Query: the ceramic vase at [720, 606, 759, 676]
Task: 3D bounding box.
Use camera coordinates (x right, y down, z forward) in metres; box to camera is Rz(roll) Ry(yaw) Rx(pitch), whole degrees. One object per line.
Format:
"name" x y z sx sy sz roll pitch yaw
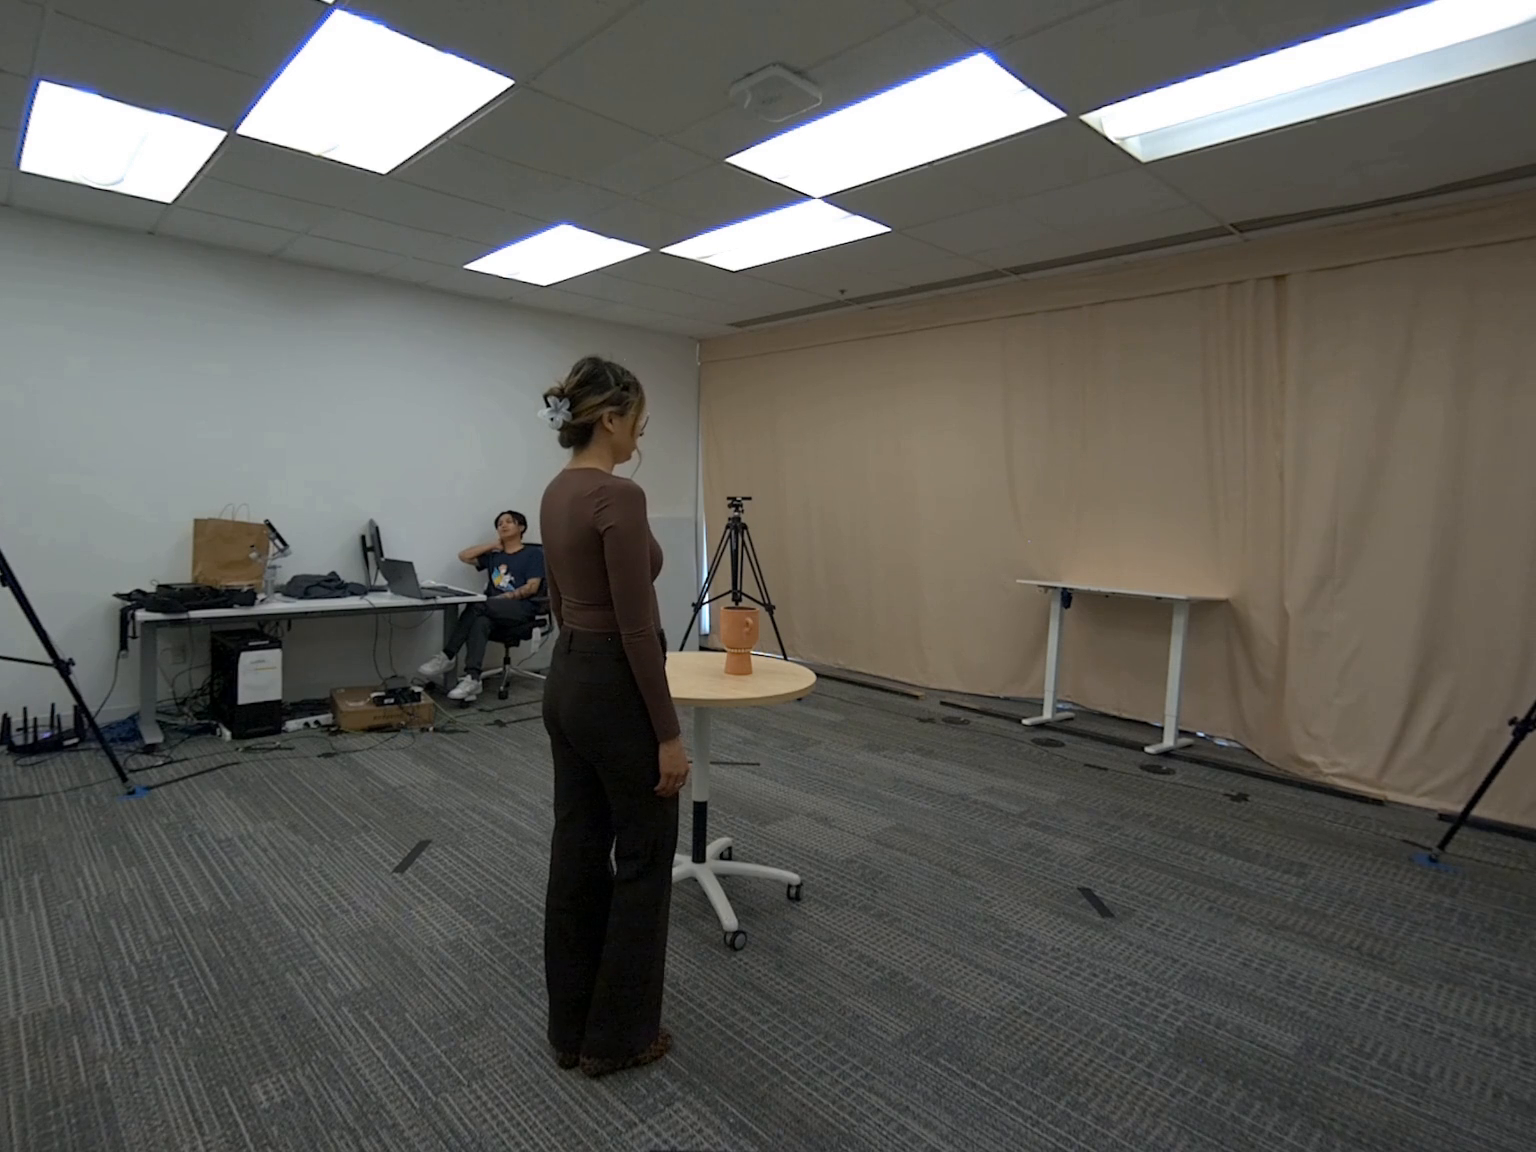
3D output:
"ceramic vase" -0.100 0.223 2.870 0.136 0.219 0.157 4 5 15
